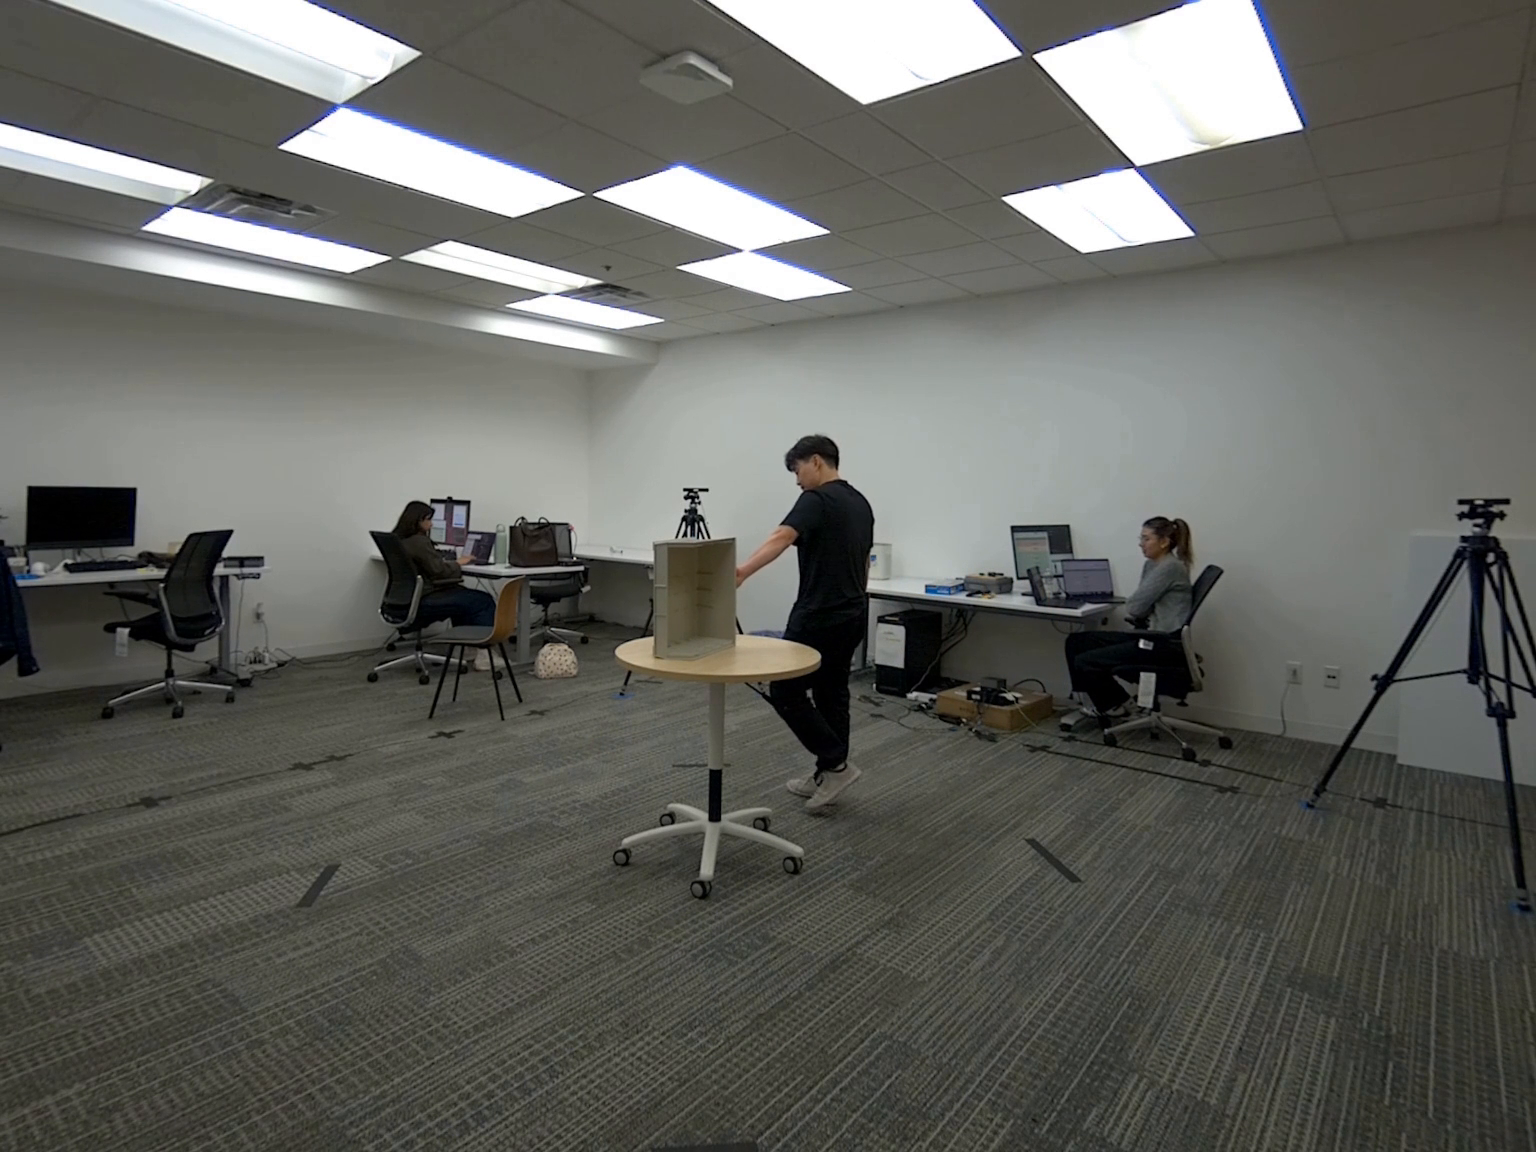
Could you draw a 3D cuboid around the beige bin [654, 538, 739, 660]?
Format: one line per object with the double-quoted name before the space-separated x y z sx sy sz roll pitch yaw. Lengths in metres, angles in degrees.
"beige bin" -0.293 0.069 3.178 0.194 0.421 0.369 1 5 25
